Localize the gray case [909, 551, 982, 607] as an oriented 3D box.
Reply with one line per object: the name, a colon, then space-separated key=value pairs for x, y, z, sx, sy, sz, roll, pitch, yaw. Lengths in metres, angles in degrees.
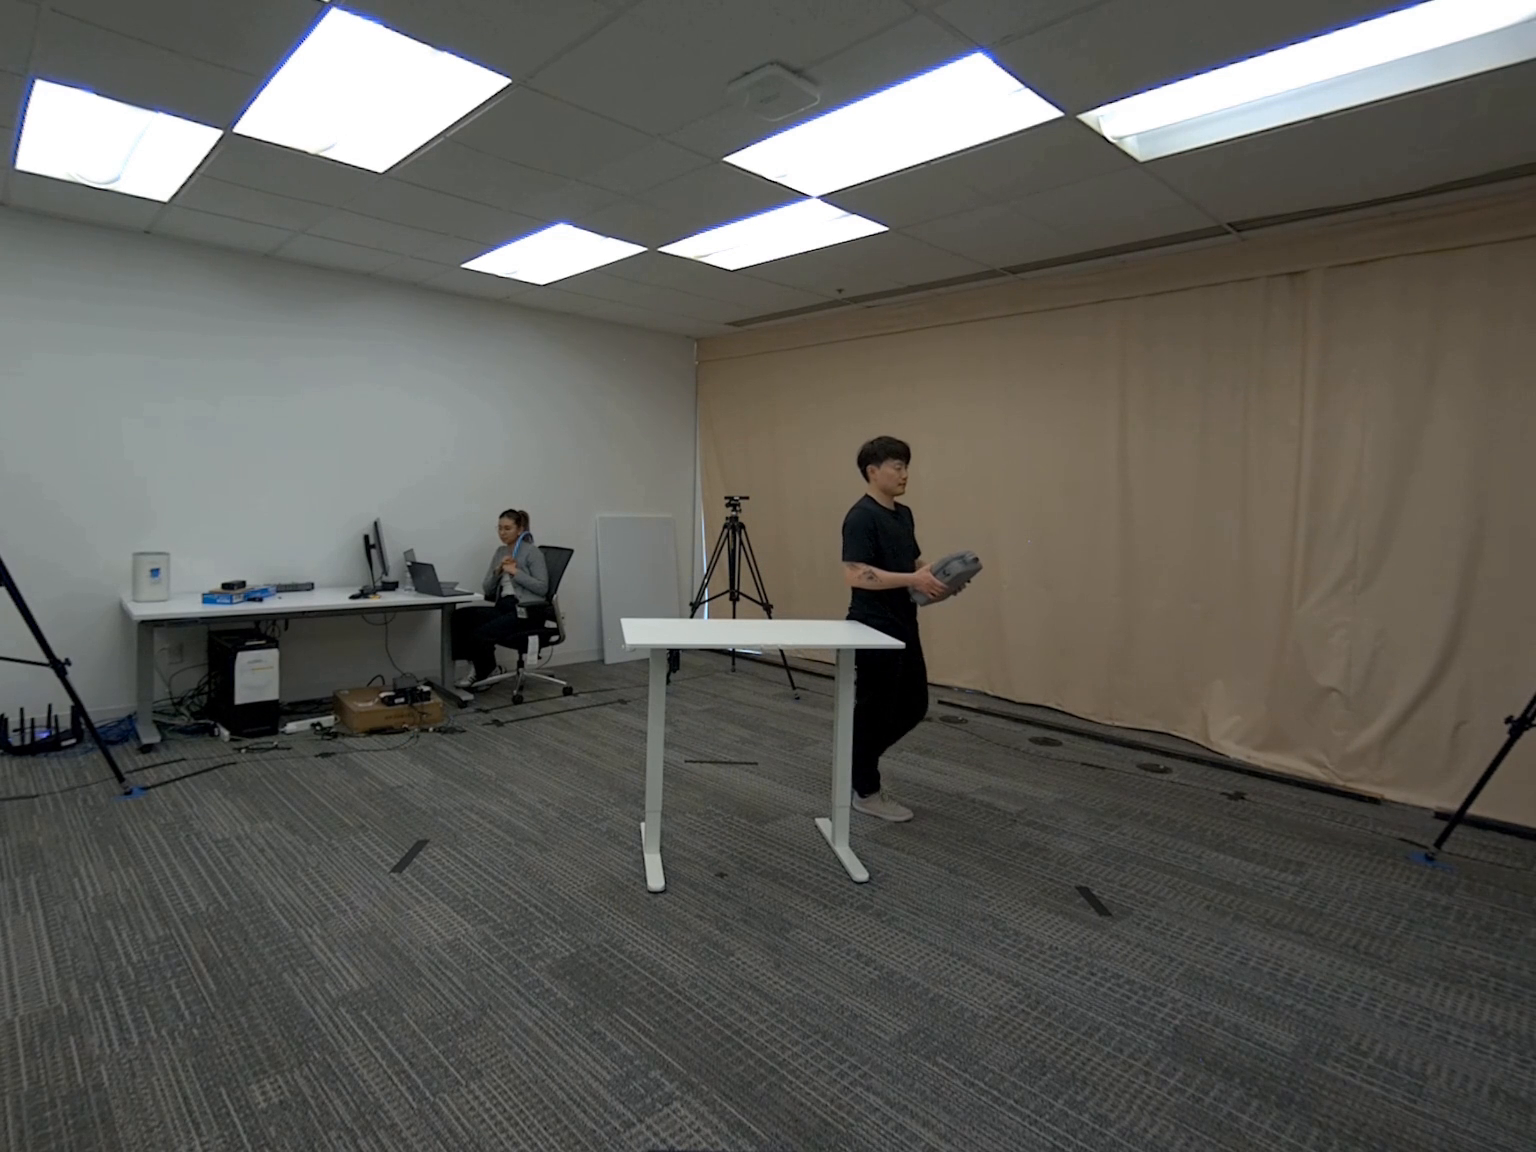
gray case: x=0.733 y=-0.001 z=3.555 sx=0.252 sy=0.106 sz=0.261 roll=-11 pitch=-28 yaw=-50
